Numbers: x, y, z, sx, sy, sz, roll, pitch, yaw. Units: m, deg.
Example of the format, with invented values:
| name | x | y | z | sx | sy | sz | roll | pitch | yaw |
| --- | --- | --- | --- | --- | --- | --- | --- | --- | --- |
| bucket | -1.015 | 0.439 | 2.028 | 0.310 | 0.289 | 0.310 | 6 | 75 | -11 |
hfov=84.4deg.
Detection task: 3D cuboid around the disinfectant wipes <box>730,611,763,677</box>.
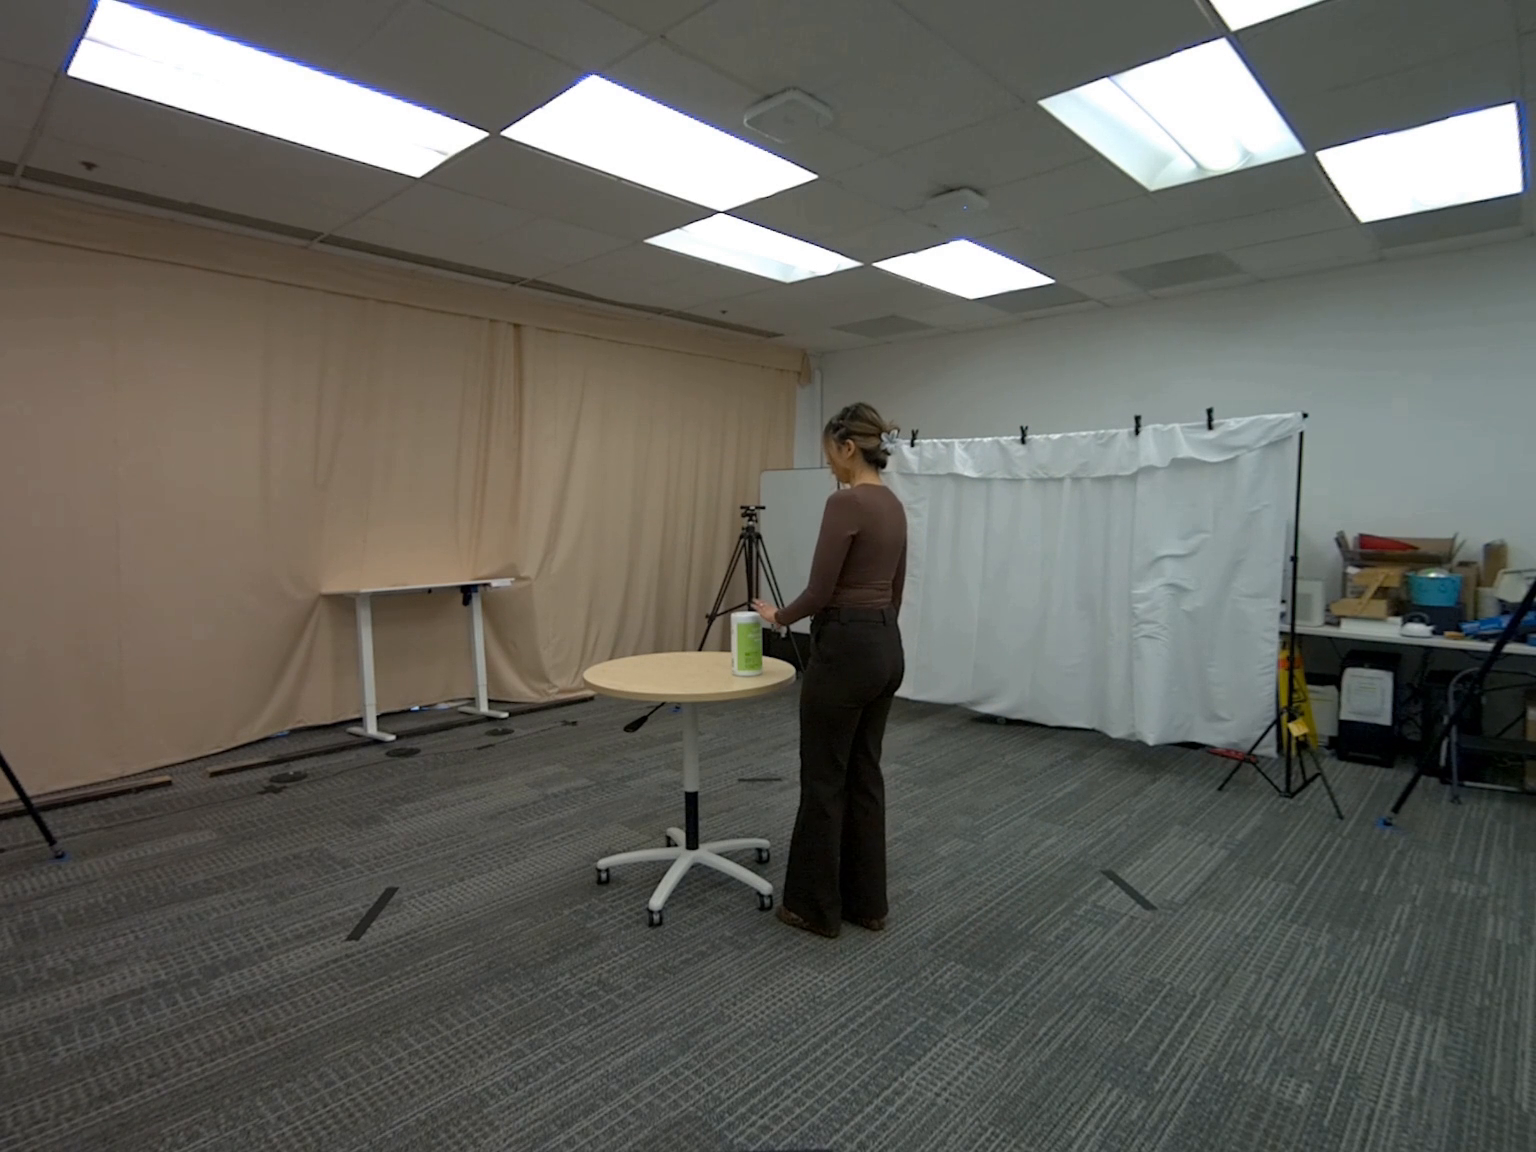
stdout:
| name | x | y | z | sx | sy | sz | roll | pitch | yaw |
| --- | --- | --- | --- | --- | --- | --- | --- | --- | --- |
| disinfectant wipes | -0.072 | 0.239 | 2.975 | 0.118 | 0.217 | 0.118 | 0 | 3 | -2 |
